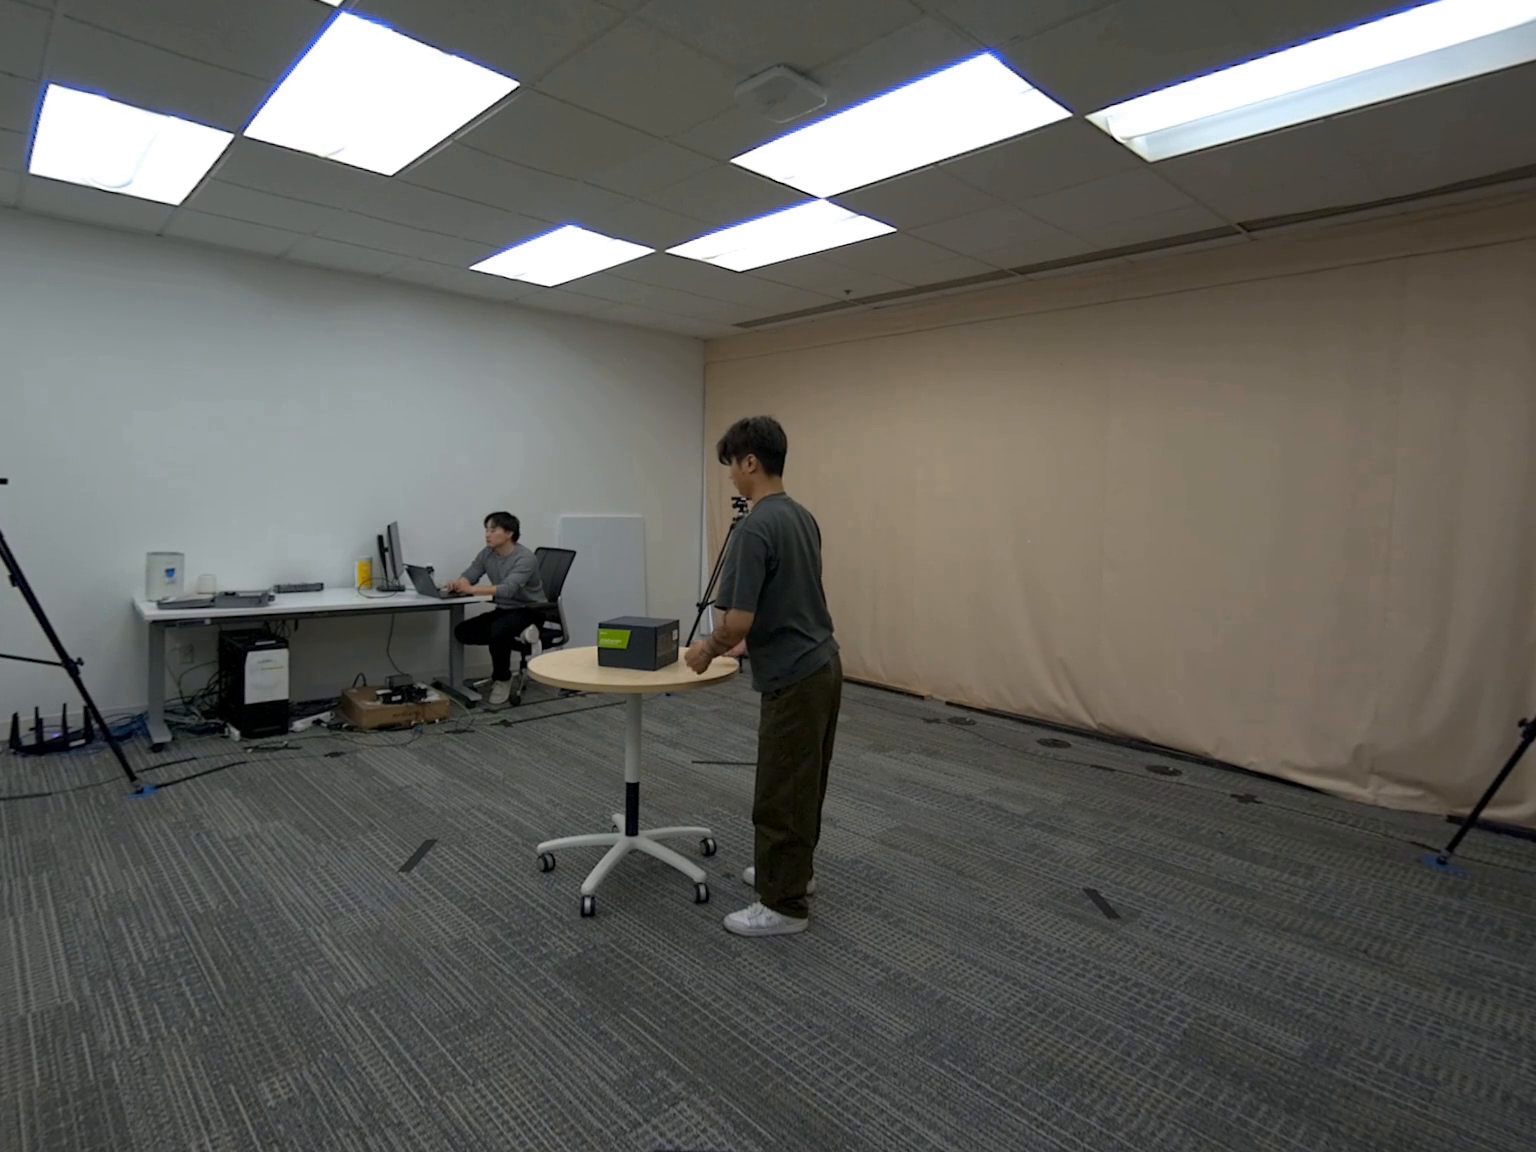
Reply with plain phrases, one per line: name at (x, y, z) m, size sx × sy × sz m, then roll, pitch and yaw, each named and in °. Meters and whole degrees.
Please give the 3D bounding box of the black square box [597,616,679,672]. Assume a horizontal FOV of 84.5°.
black square box at (-0.473, 0.236, 3.064) m, size 0.231 × 0.155 × 0.214 m, roll 2°, pitch 3°, yaw 18°
